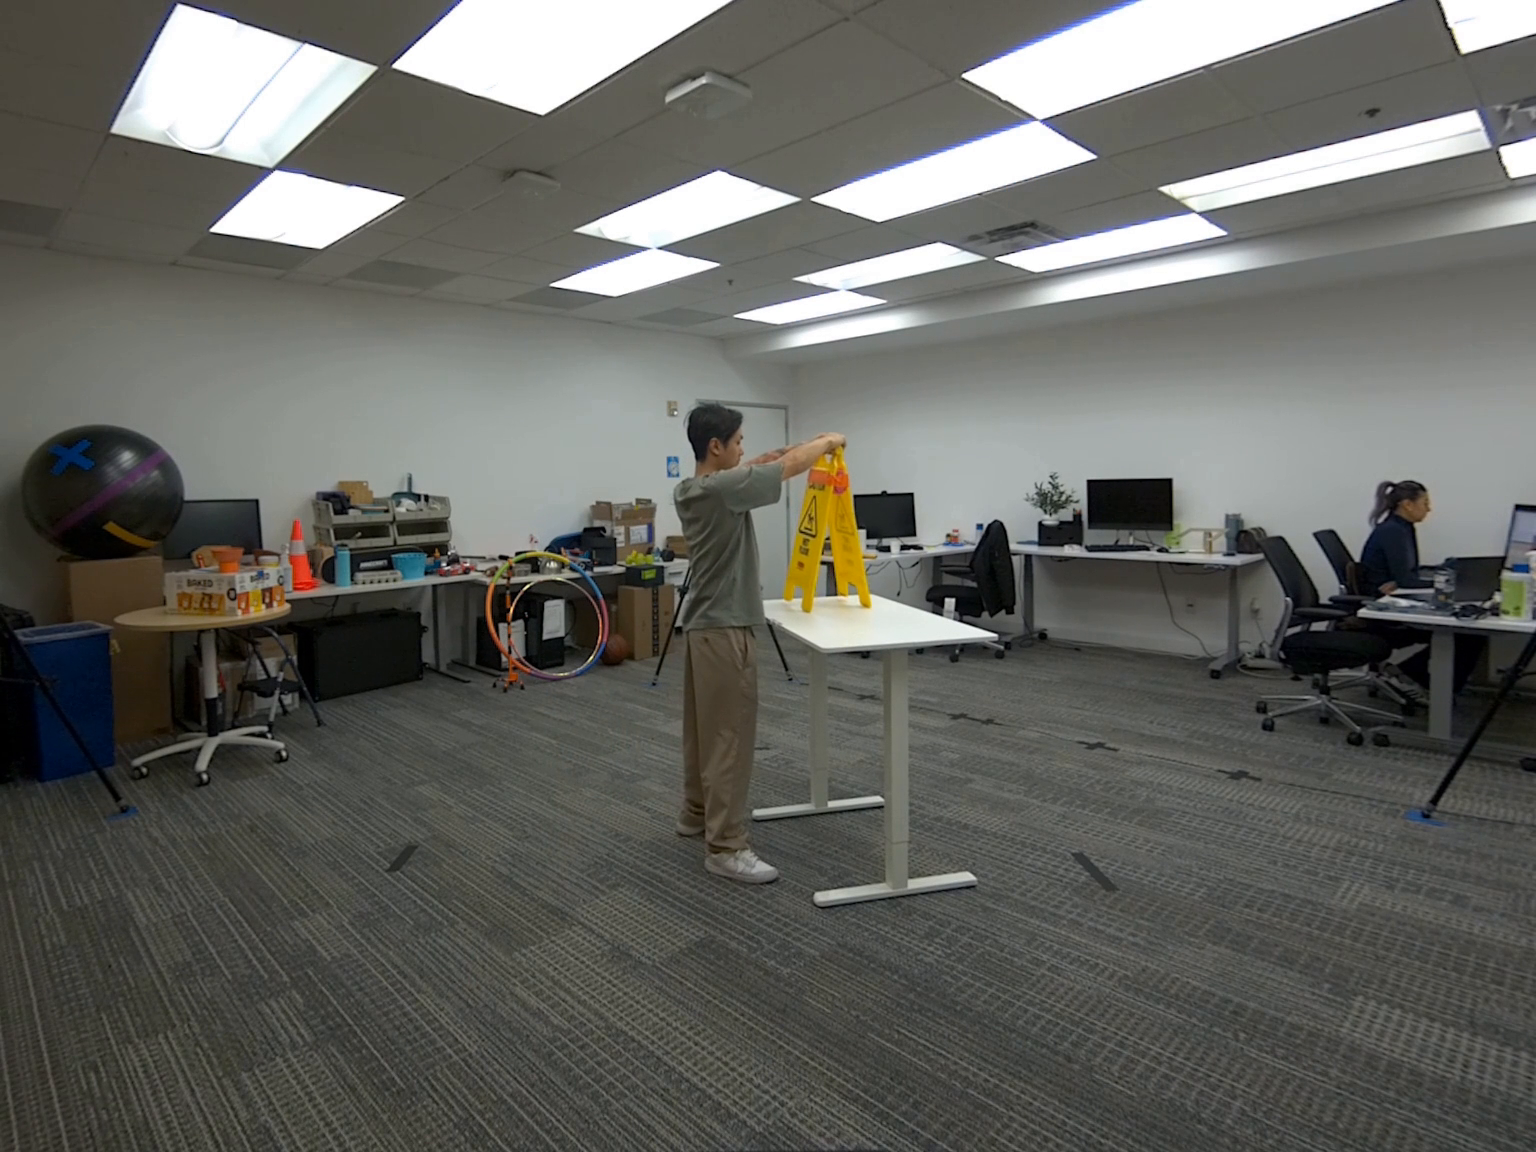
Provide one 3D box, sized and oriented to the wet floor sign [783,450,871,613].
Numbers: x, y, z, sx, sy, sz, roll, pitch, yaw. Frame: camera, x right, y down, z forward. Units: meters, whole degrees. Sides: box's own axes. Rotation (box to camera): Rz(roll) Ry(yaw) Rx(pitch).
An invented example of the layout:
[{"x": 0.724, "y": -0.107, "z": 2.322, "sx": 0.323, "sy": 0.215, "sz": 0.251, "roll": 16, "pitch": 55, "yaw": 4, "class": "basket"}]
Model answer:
[{"x": 0.239, "y": -0.205, "z": 3.389, "sx": 0.285, "sy": 0.641, "sz": 0.289, "roll": -2, "pitch": 9, "yaw": -19, "class": "wet floor sign"}]
